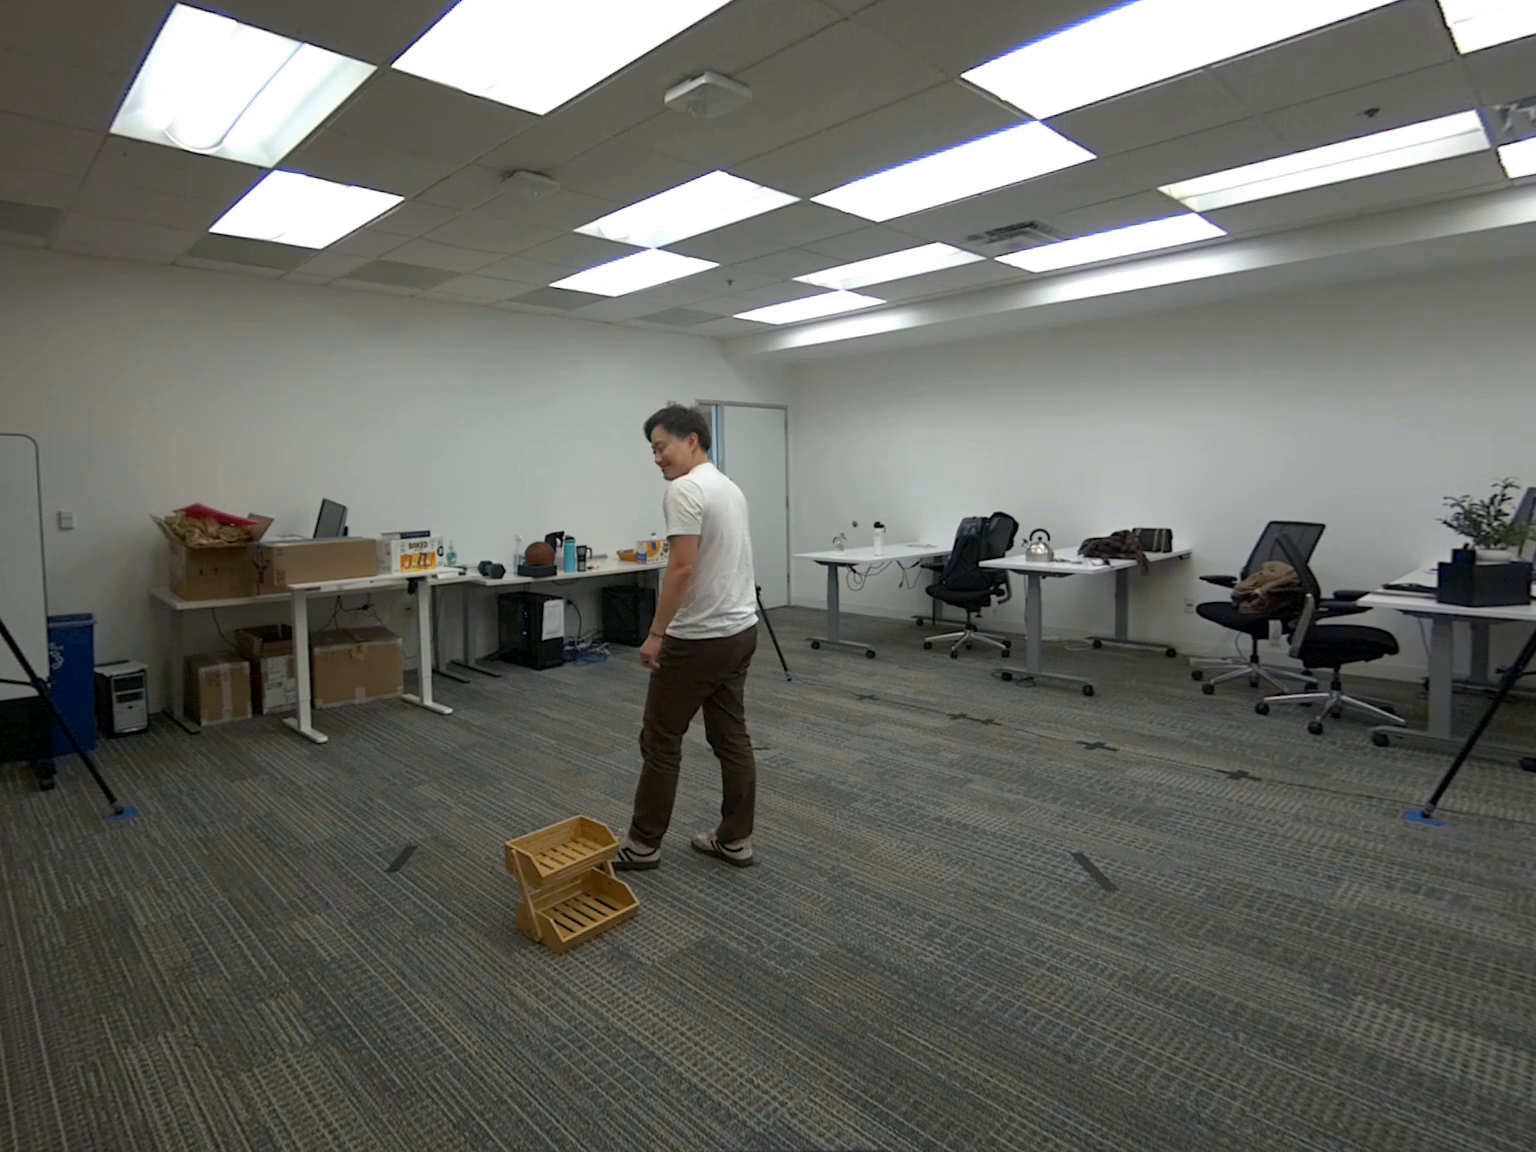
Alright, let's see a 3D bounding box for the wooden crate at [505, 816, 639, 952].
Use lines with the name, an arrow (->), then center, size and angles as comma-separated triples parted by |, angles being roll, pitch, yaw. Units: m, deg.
wooden crate -> -0.619, 0.965, 2.723 | 0.311, 0.272, 0.316 | 3, 7, 42
